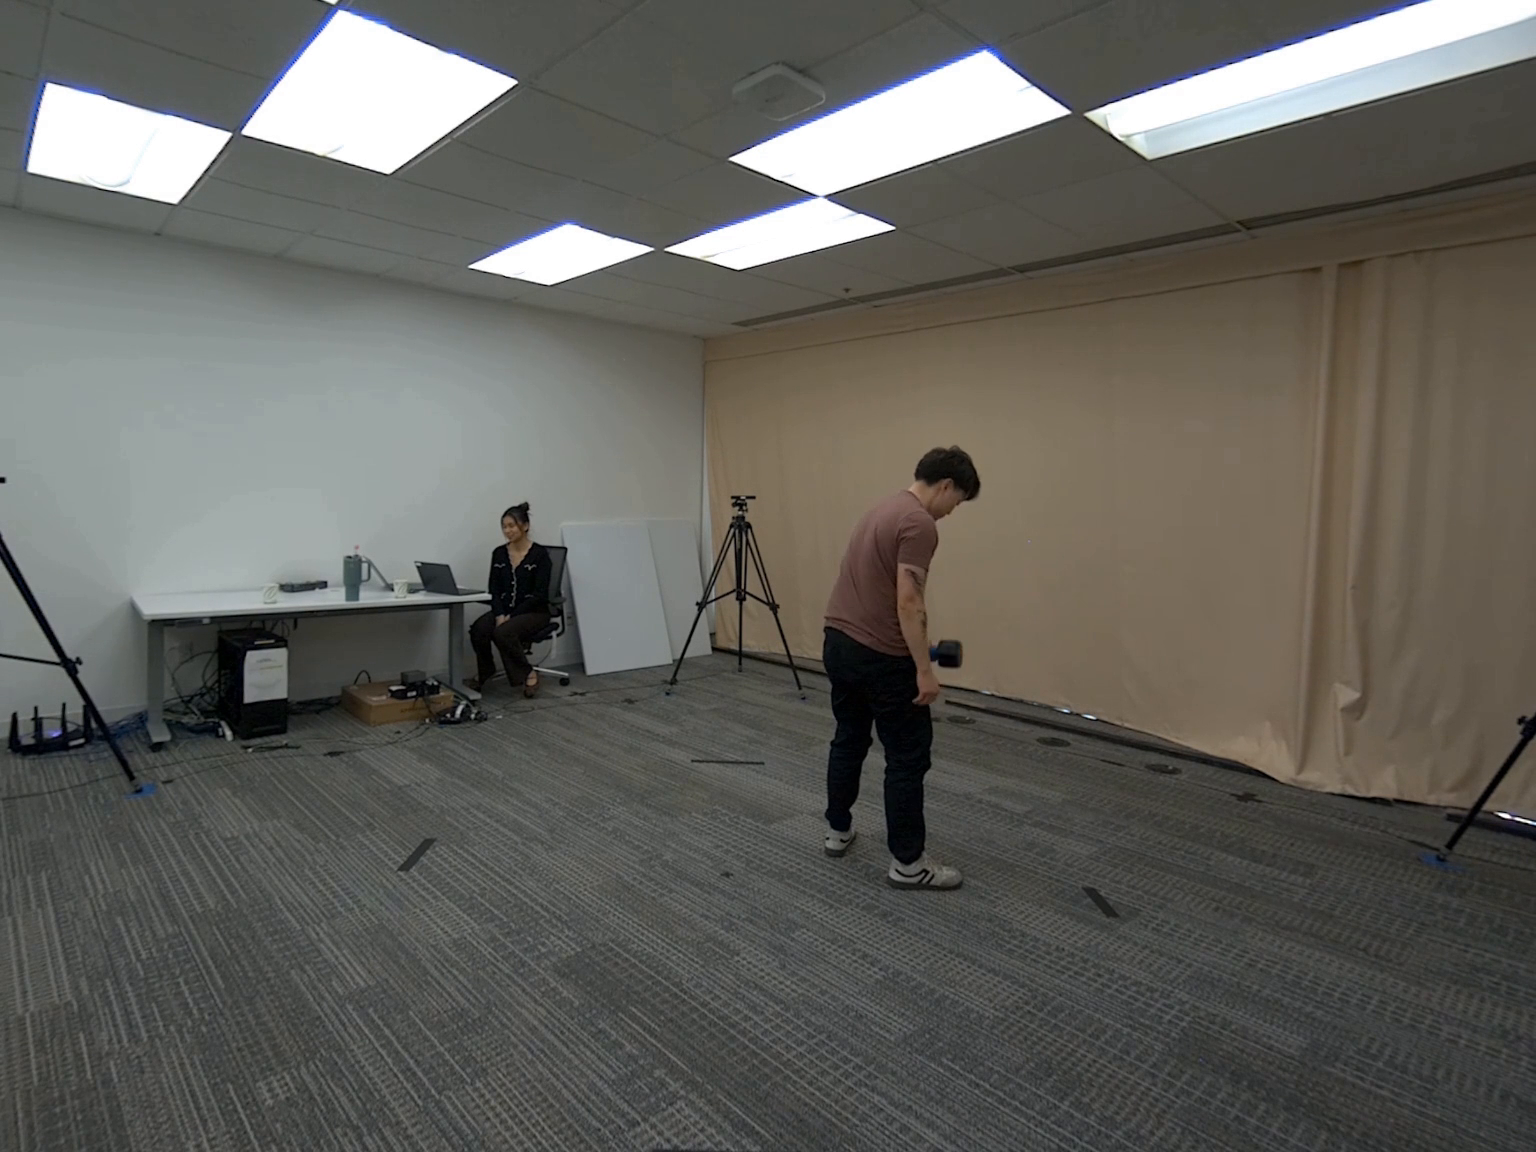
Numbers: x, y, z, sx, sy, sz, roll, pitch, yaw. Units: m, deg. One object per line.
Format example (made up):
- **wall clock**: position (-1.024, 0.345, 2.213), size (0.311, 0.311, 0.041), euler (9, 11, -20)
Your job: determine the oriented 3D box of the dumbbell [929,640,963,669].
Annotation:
- **dumbbell**: position (0.605, 0.297, 3.327), size (0.298, 0.121, 0.109), euler (0, 24, 23)
